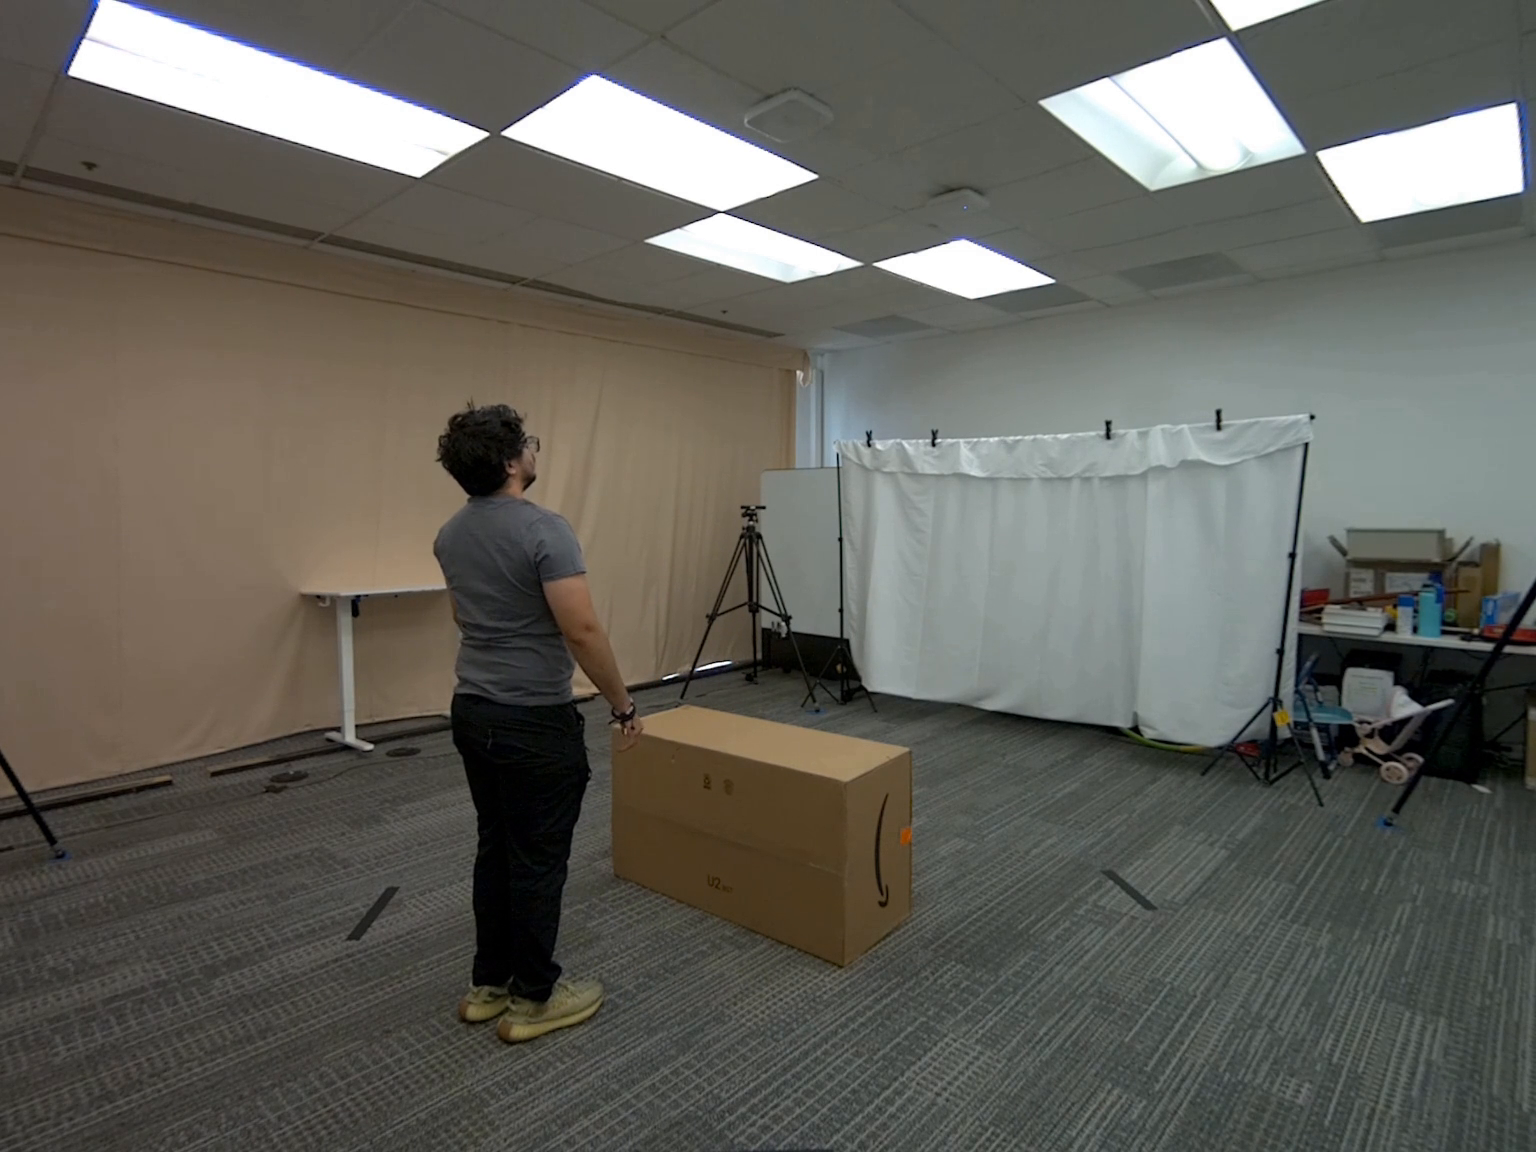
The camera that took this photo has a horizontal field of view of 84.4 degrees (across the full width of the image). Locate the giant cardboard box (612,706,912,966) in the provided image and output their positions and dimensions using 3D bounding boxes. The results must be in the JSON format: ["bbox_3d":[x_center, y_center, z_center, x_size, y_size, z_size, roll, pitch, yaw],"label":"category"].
[{"bbox_3d":[-0.046,0.852,3.003,1.059,0.576,0.413,3,4,39],"label":"giant cardboard box"}]
